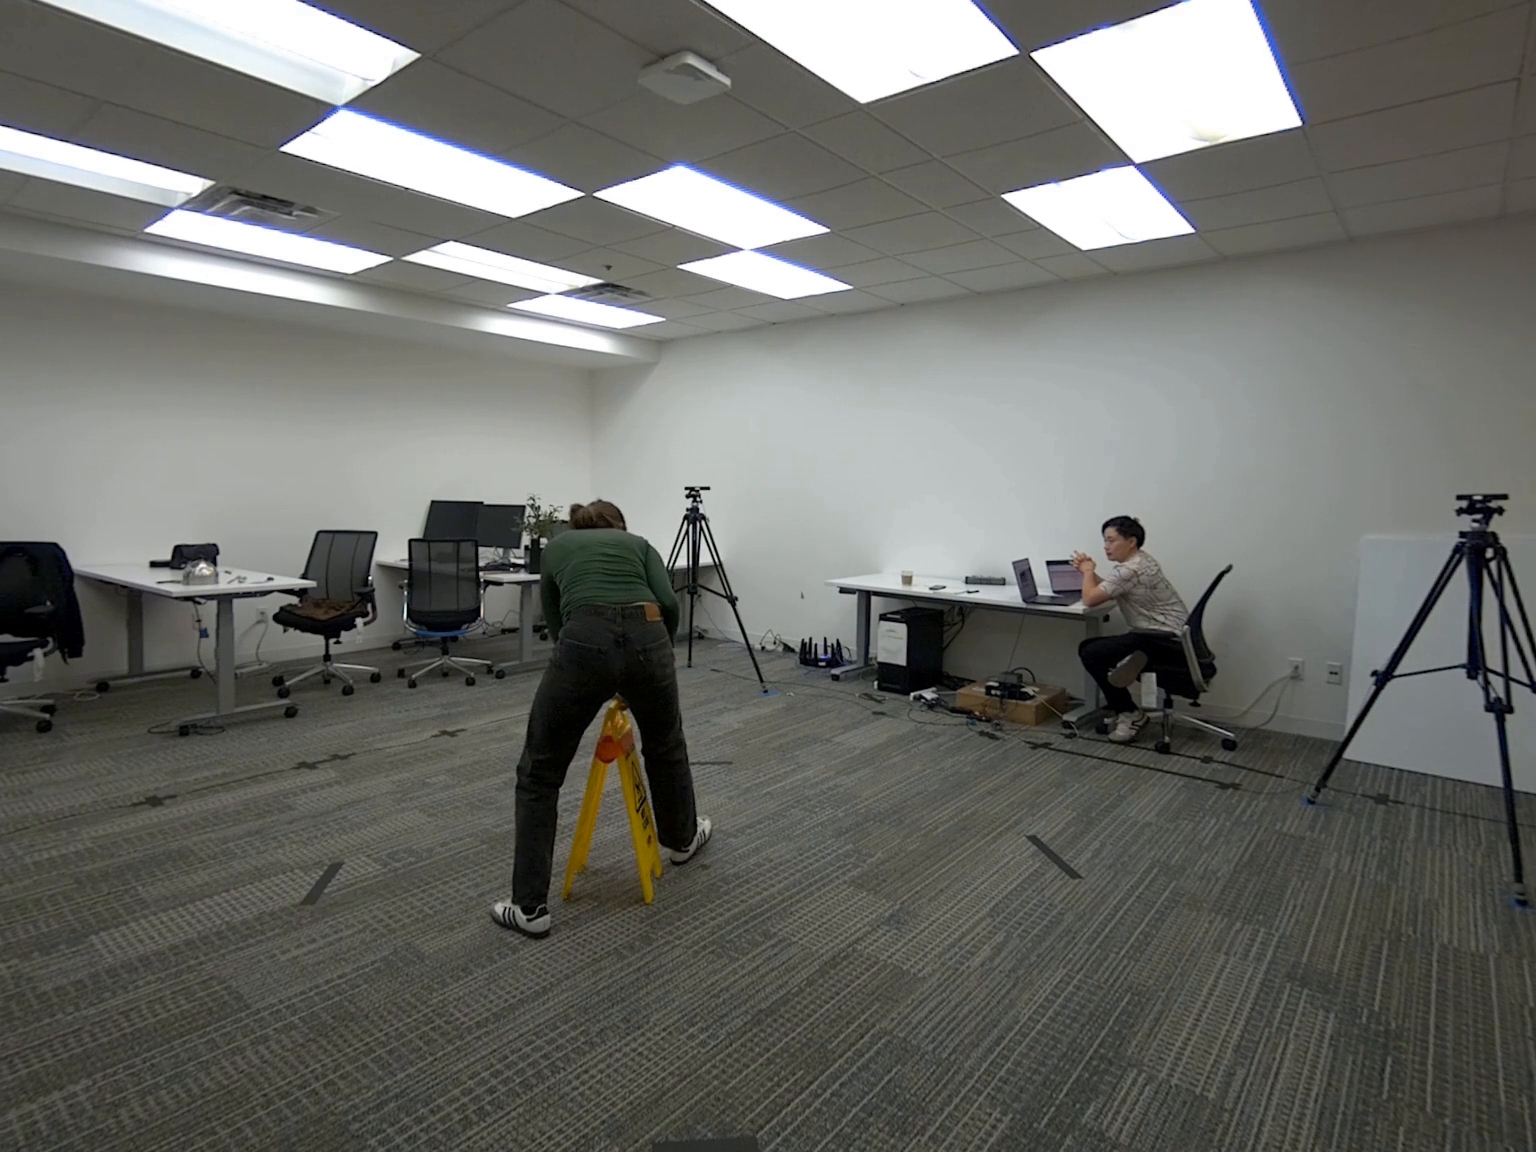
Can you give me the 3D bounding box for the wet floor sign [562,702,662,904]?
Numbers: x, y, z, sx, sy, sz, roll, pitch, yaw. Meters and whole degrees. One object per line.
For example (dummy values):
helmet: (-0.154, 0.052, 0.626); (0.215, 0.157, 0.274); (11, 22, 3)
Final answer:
wet floor sign: (-0.543, 0.751, 2.950); (0.291, 0.644, 0.281); (1, 3, 4)
